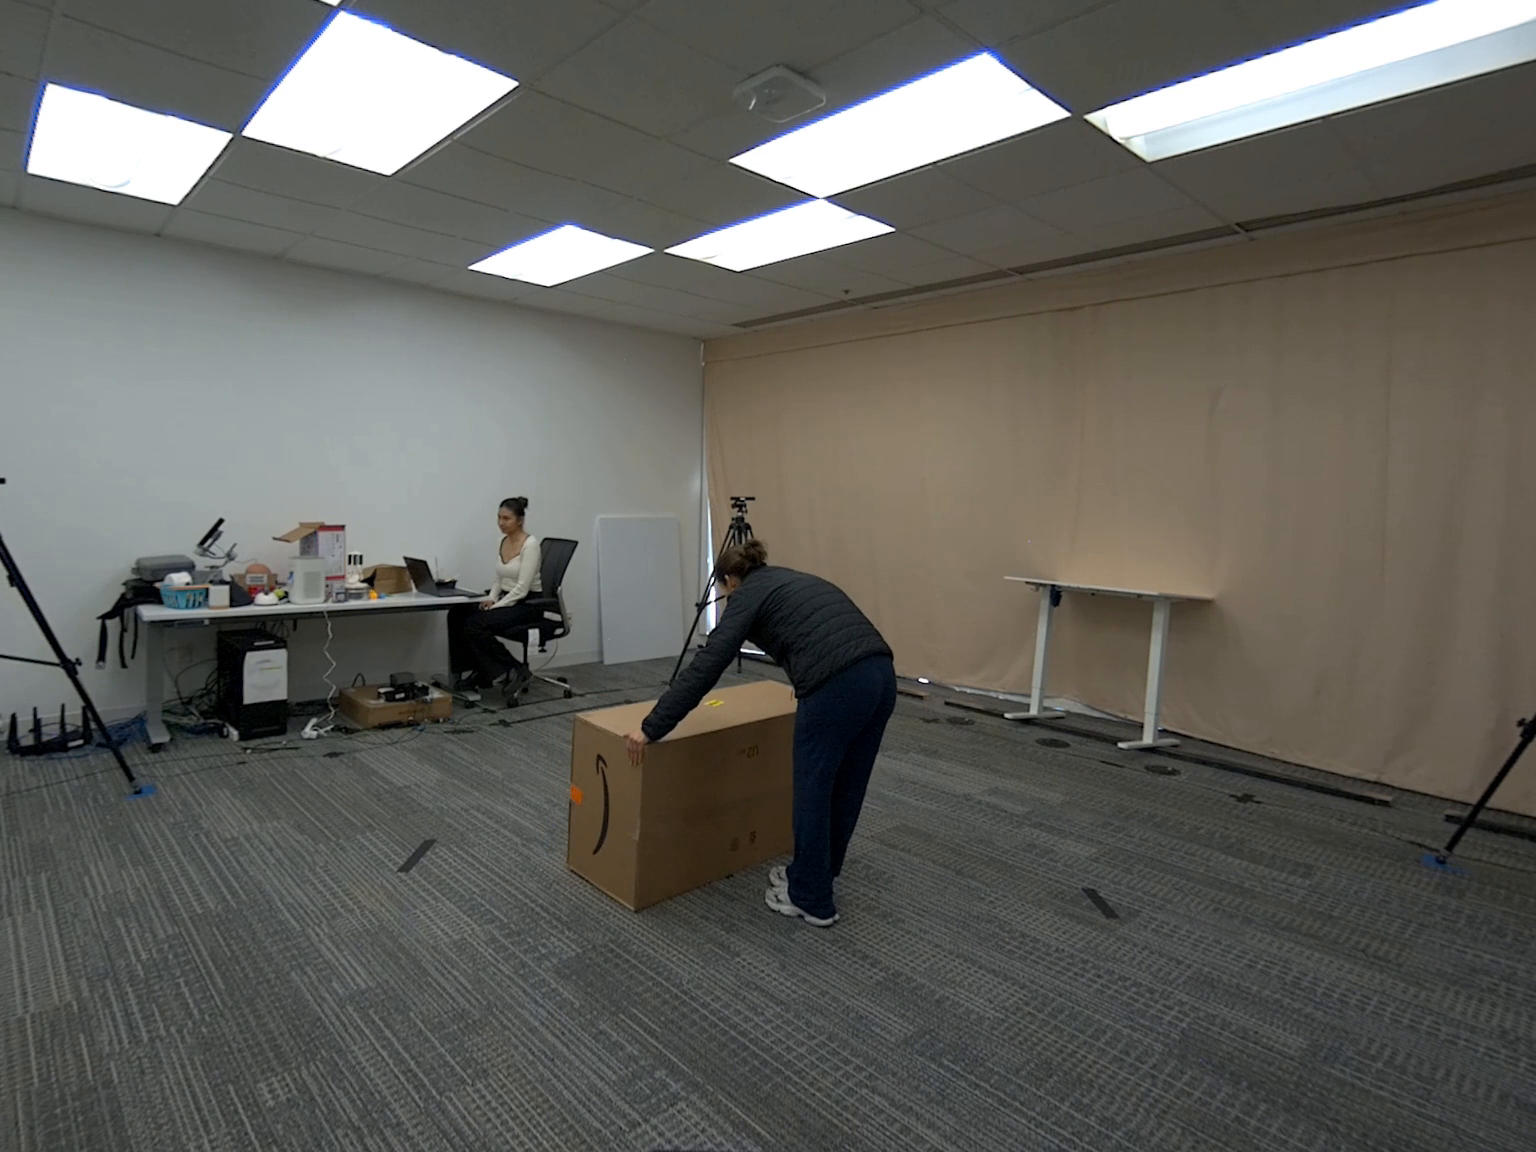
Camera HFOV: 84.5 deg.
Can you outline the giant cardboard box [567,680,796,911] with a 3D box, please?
[{"bbox_3d":[-0.227,0.799,3.281,0.459,0.582,1.003,8,7,44],"label":"giant cardboard box"}]
